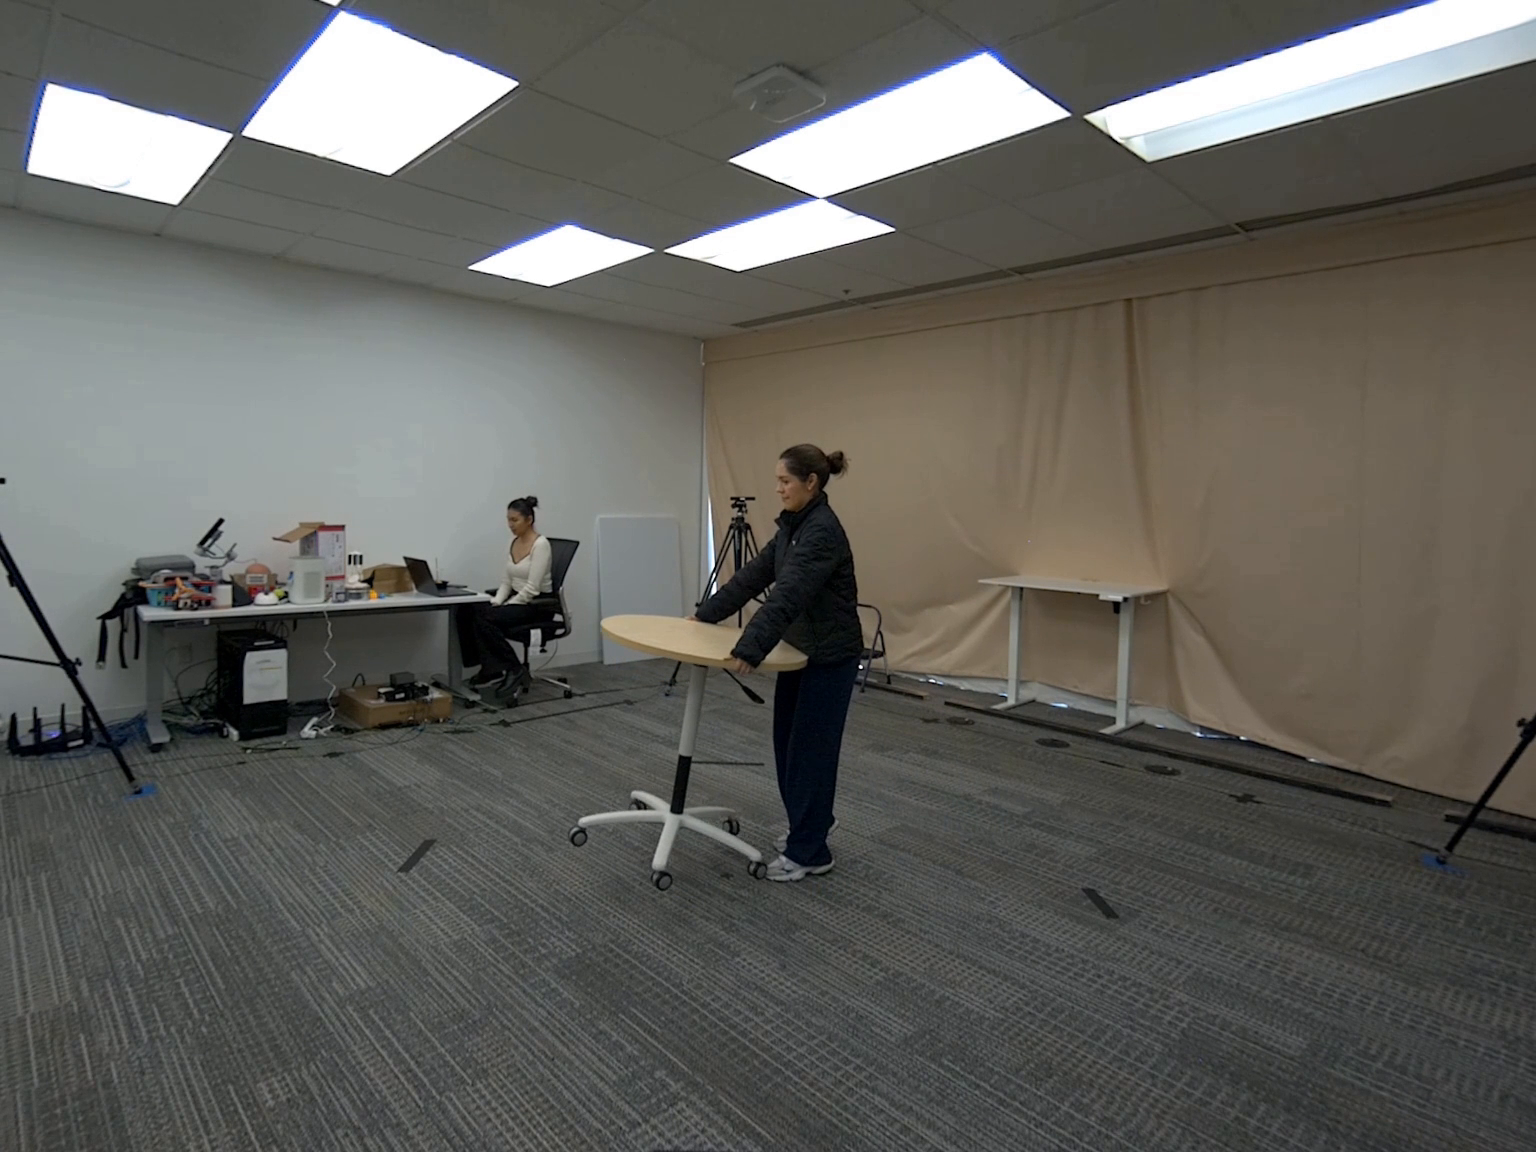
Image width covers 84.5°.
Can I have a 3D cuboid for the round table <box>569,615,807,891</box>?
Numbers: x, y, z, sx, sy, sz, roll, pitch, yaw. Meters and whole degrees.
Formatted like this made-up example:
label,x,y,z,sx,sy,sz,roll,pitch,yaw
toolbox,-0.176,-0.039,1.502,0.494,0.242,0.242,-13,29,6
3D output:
label,x,y,z,sx,sy,sz,roll,pitch,yaw
round table,-0.291,0.622,3.099,0.784,0.785,0.788,9,4,-2
